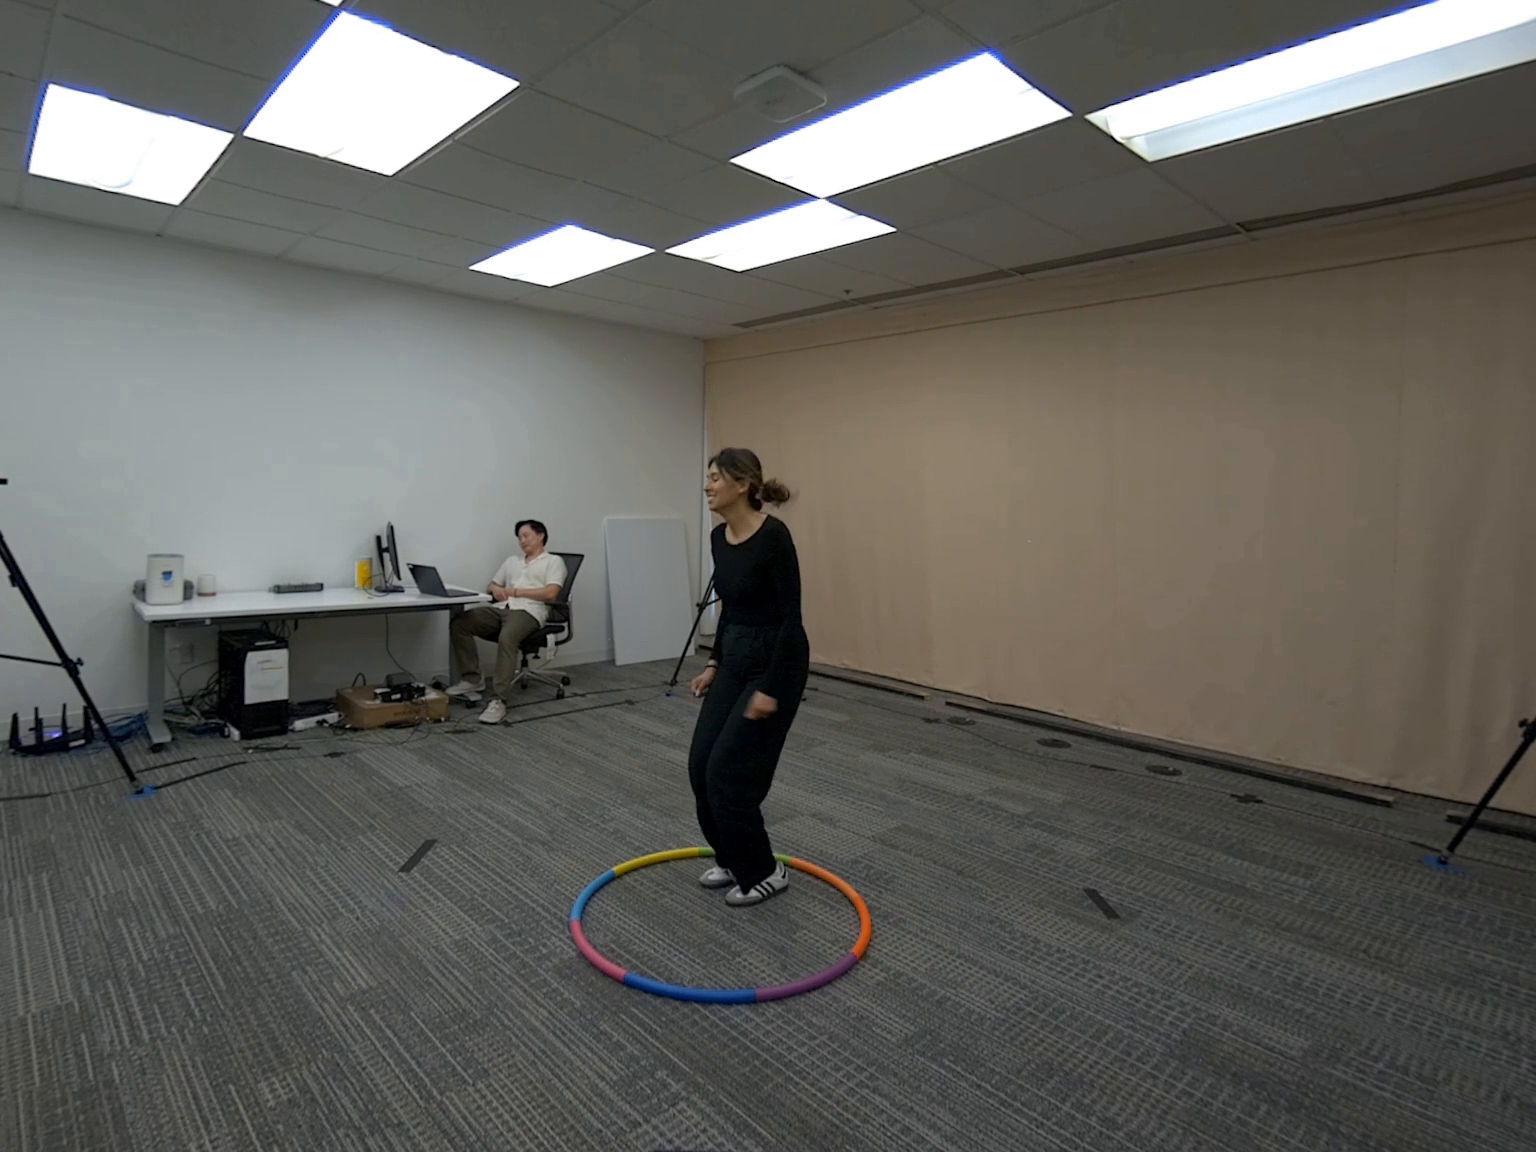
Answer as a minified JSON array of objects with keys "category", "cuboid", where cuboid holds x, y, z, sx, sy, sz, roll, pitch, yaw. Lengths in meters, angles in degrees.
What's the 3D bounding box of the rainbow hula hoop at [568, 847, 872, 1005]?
[{"category":"rainbow hula hoop","cuboid":[-0.162,1.106,2.799,0.978,0.035,0.982,1,5,-1]}]
